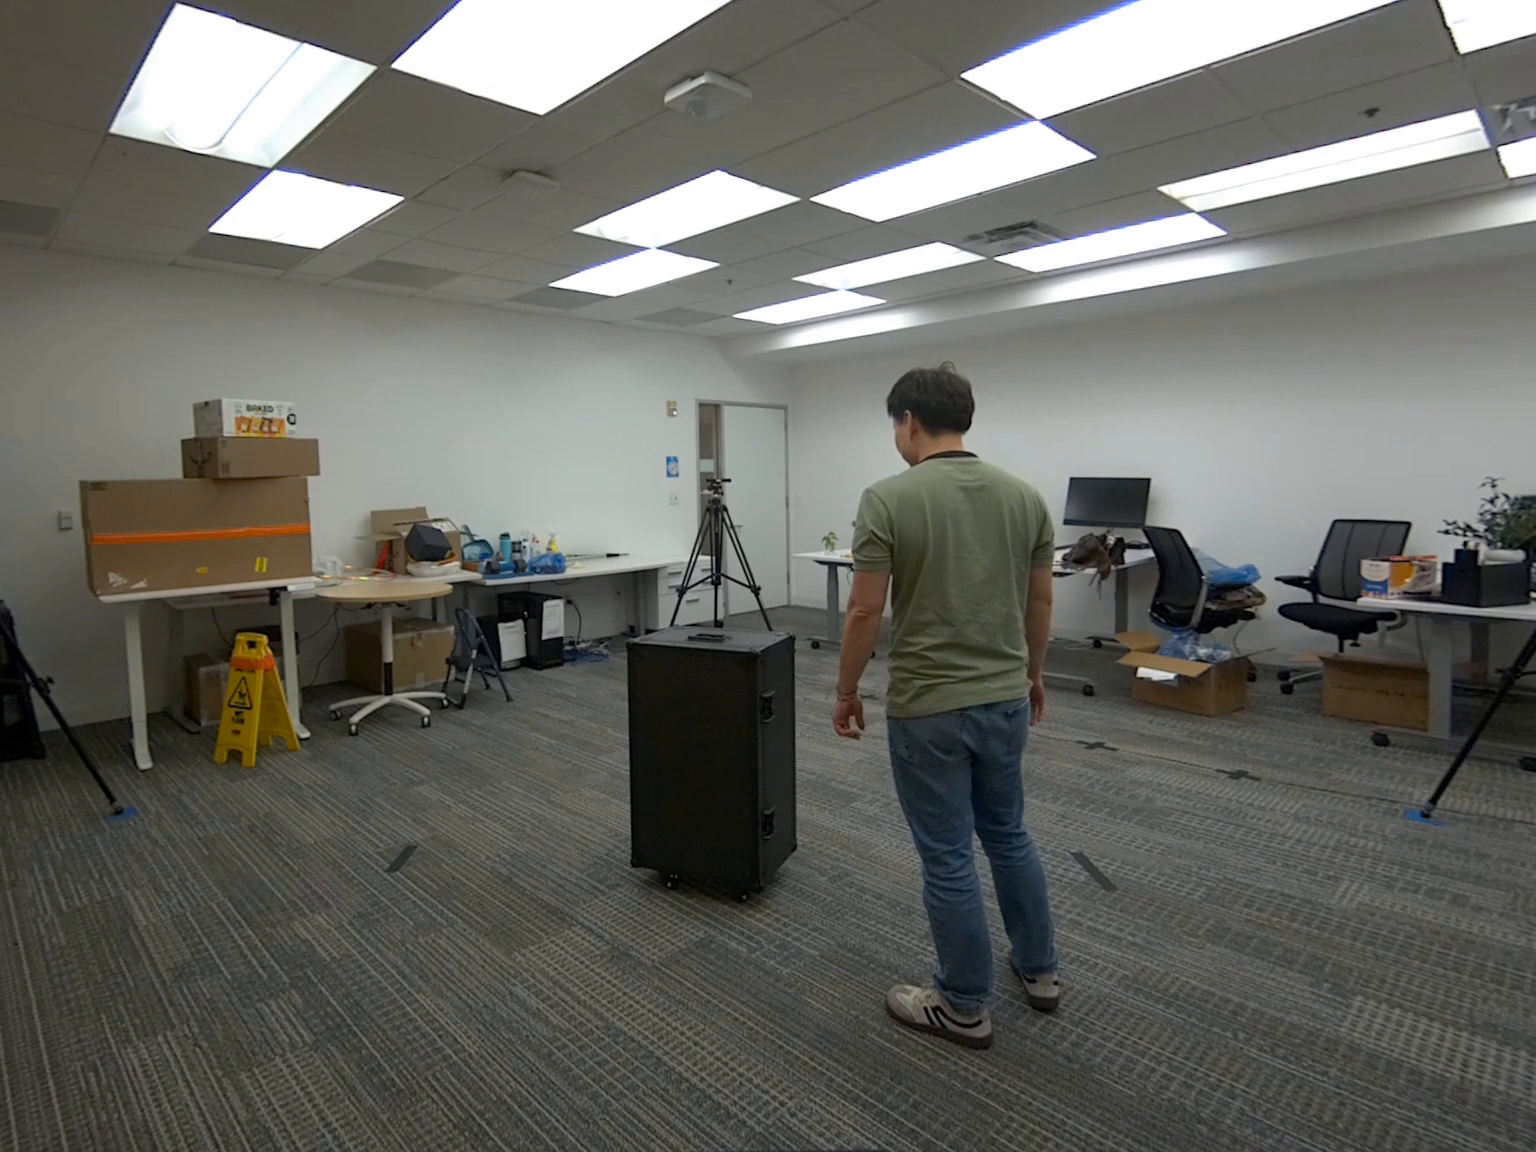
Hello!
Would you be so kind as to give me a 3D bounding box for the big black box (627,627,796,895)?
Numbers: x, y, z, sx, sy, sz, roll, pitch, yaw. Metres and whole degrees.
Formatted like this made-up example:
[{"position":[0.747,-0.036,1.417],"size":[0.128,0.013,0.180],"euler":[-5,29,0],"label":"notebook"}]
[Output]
[{"position":[-0.187,0.632,2.989],"size":[0.533,0.859,0.388],"euler":[1,4,24],"label":"big black box"}]
